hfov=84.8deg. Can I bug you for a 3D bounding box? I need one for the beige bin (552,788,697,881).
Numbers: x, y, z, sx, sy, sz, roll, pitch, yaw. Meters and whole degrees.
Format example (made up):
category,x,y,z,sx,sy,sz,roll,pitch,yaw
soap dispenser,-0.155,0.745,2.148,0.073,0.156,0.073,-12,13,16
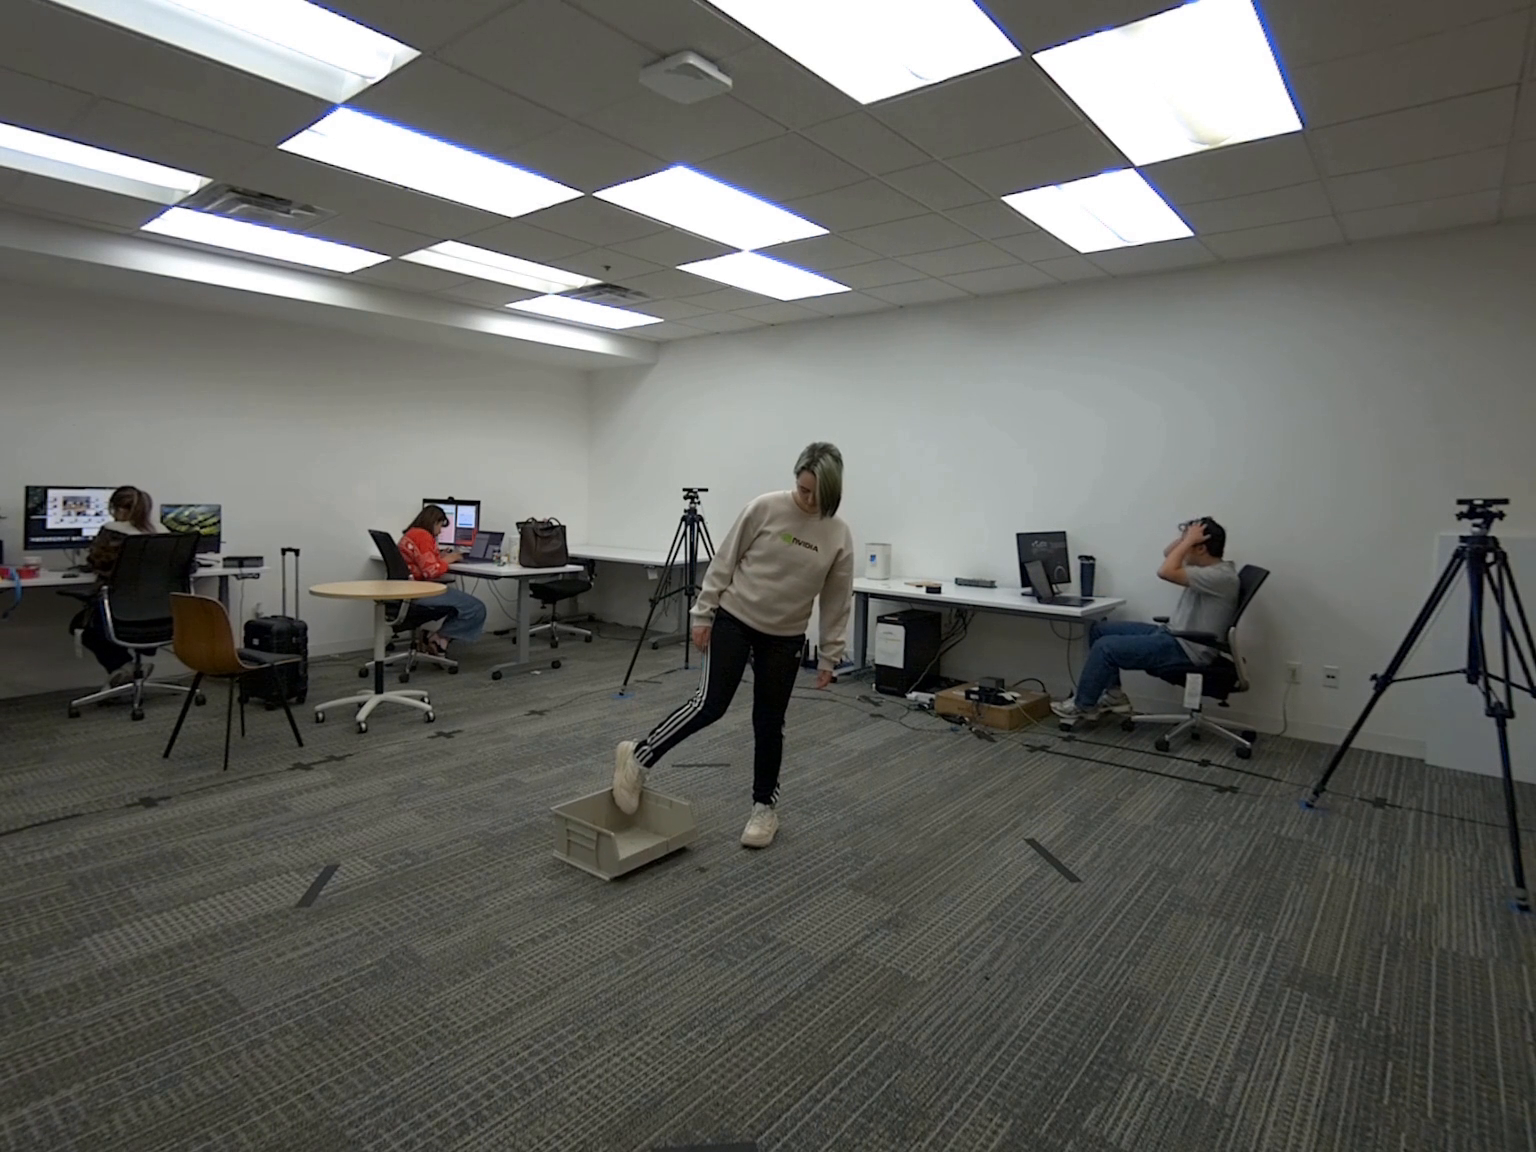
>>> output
category,x,y,z,sx,sy,sz,roll,pitch,yaw
beige bin,-0.558,0.961,3.231,0.390,0.188,0.410,4,6,38
